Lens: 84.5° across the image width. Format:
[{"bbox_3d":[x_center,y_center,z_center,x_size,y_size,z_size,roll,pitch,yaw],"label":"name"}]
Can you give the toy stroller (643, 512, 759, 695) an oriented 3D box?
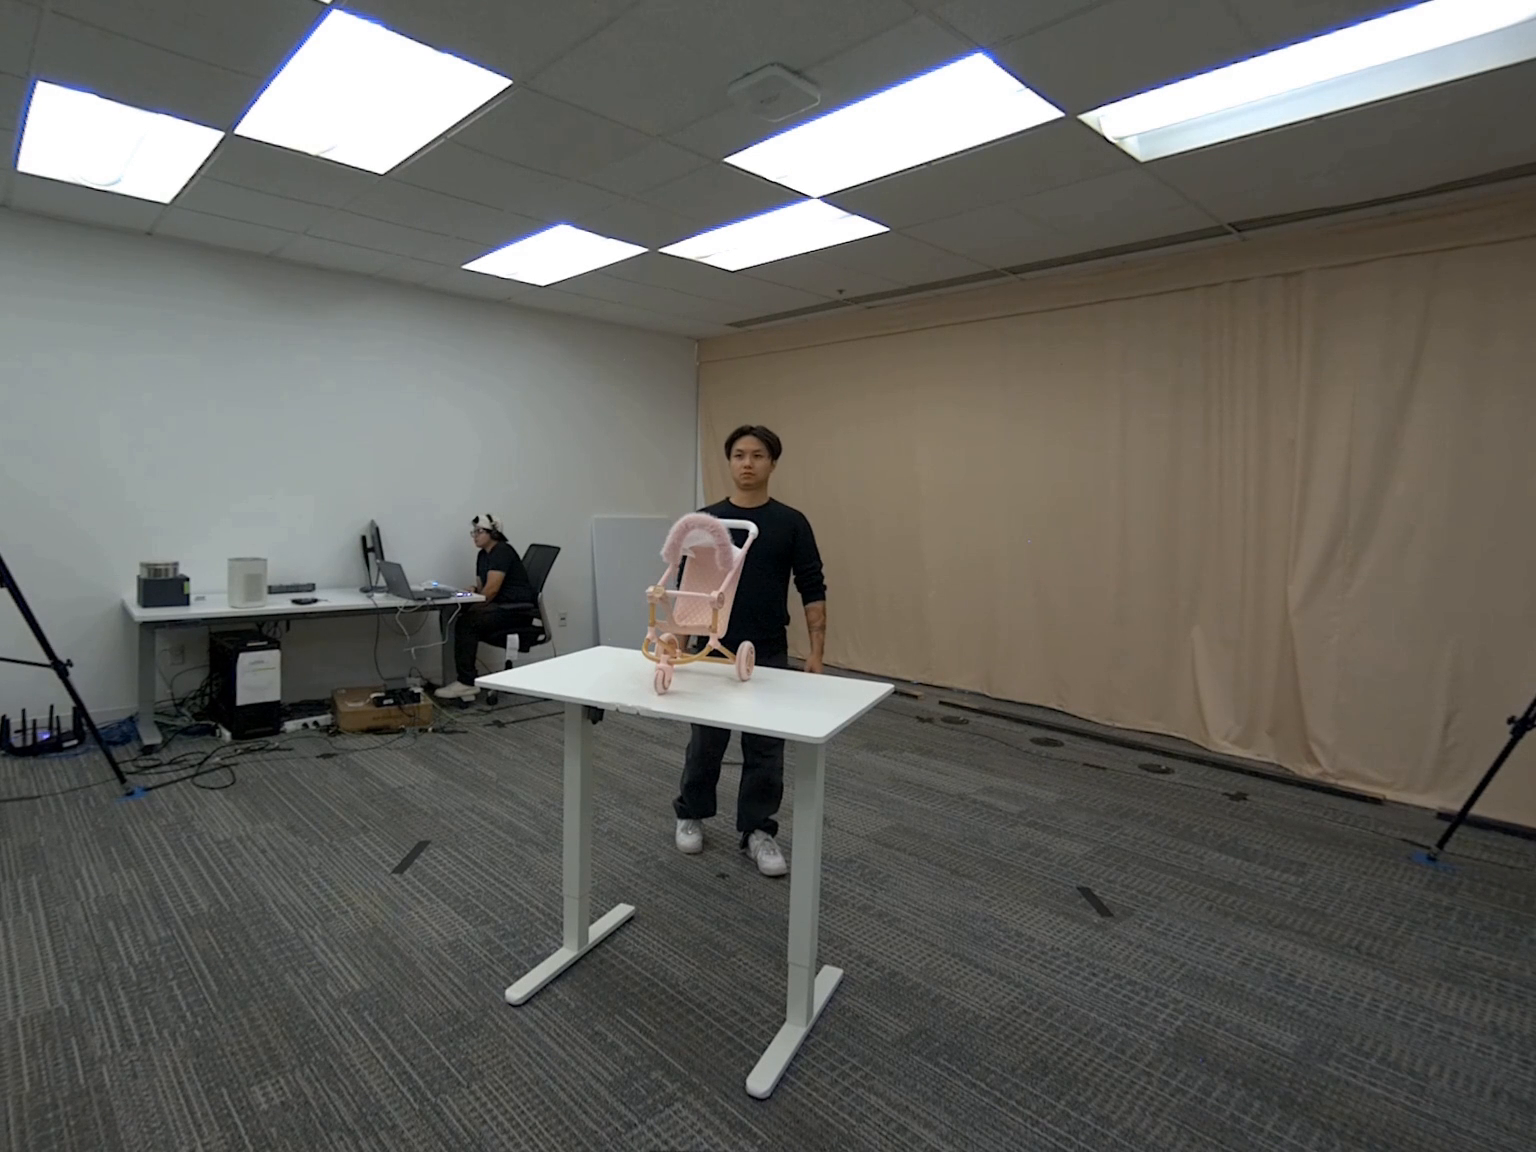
[{"bbox_3d":[-0.209,0.069,2.333,0.287,0.538,0.332,3,-10,26],"label":"toy stroller"}]
